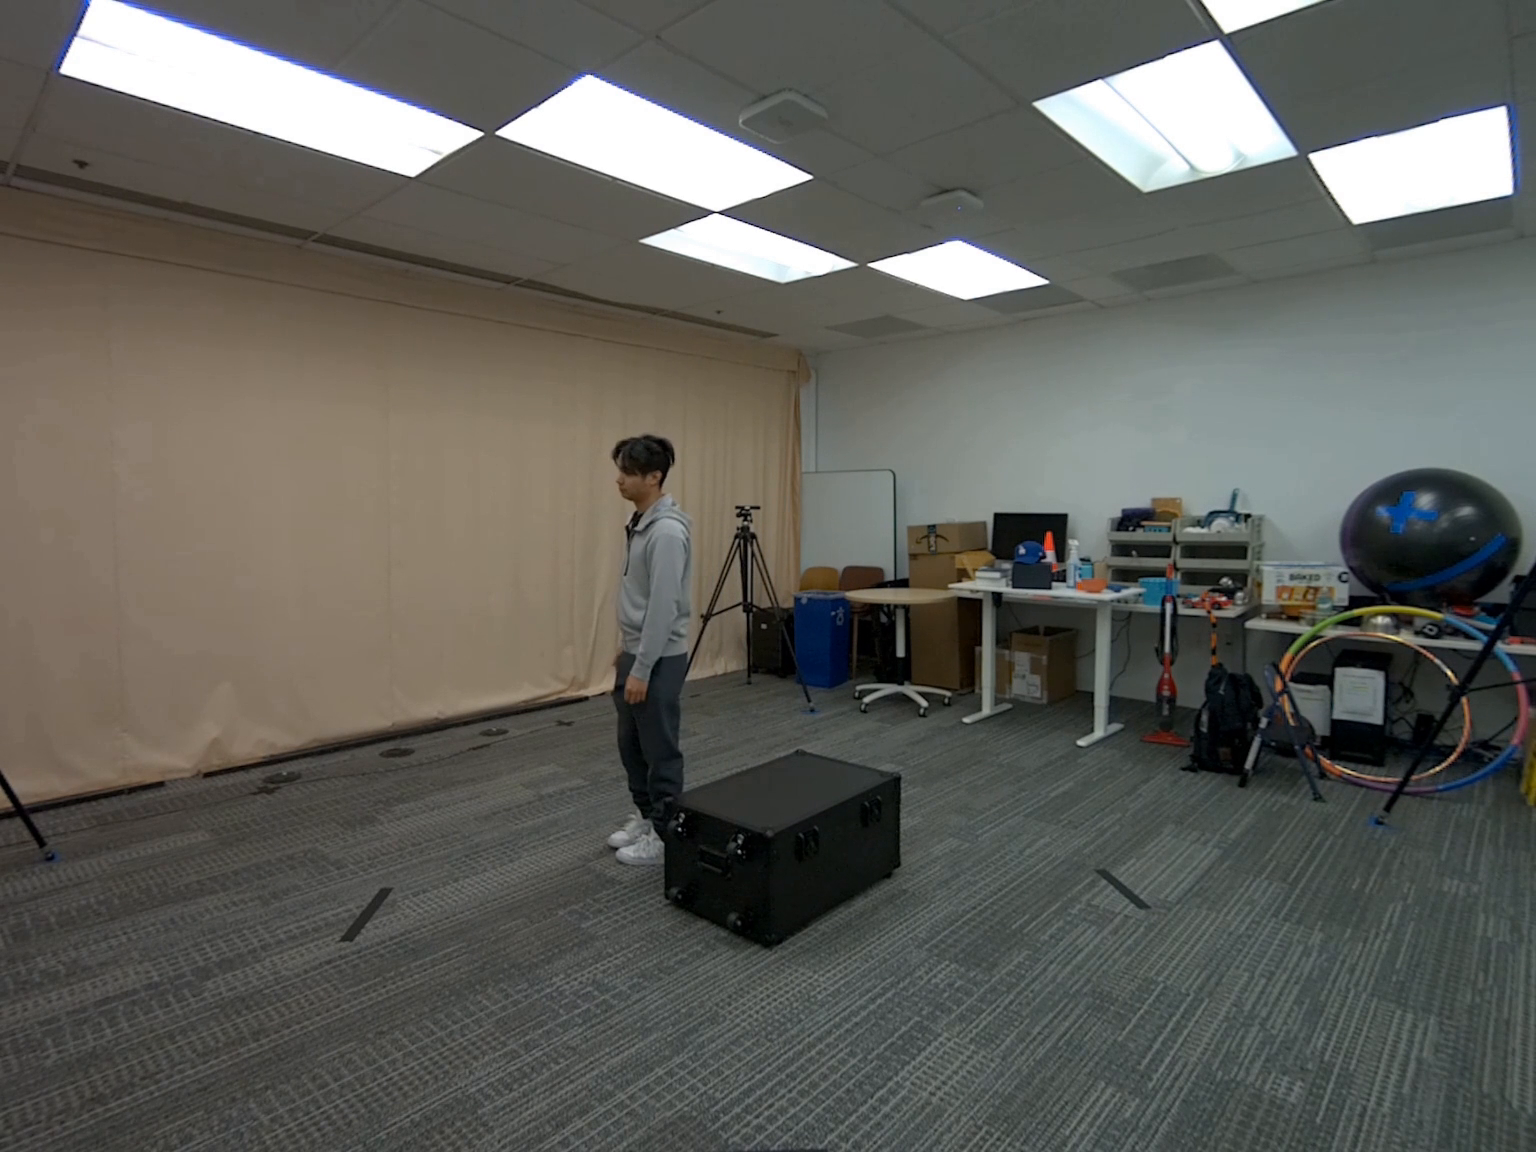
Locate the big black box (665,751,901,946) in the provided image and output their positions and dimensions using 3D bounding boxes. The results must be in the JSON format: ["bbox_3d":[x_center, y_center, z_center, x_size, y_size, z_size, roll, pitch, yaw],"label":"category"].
[{"bbox_3d":[0.051,0.949,3.034,0.538,0.395,0.835,3,5,41],"label":"big black box"}]
